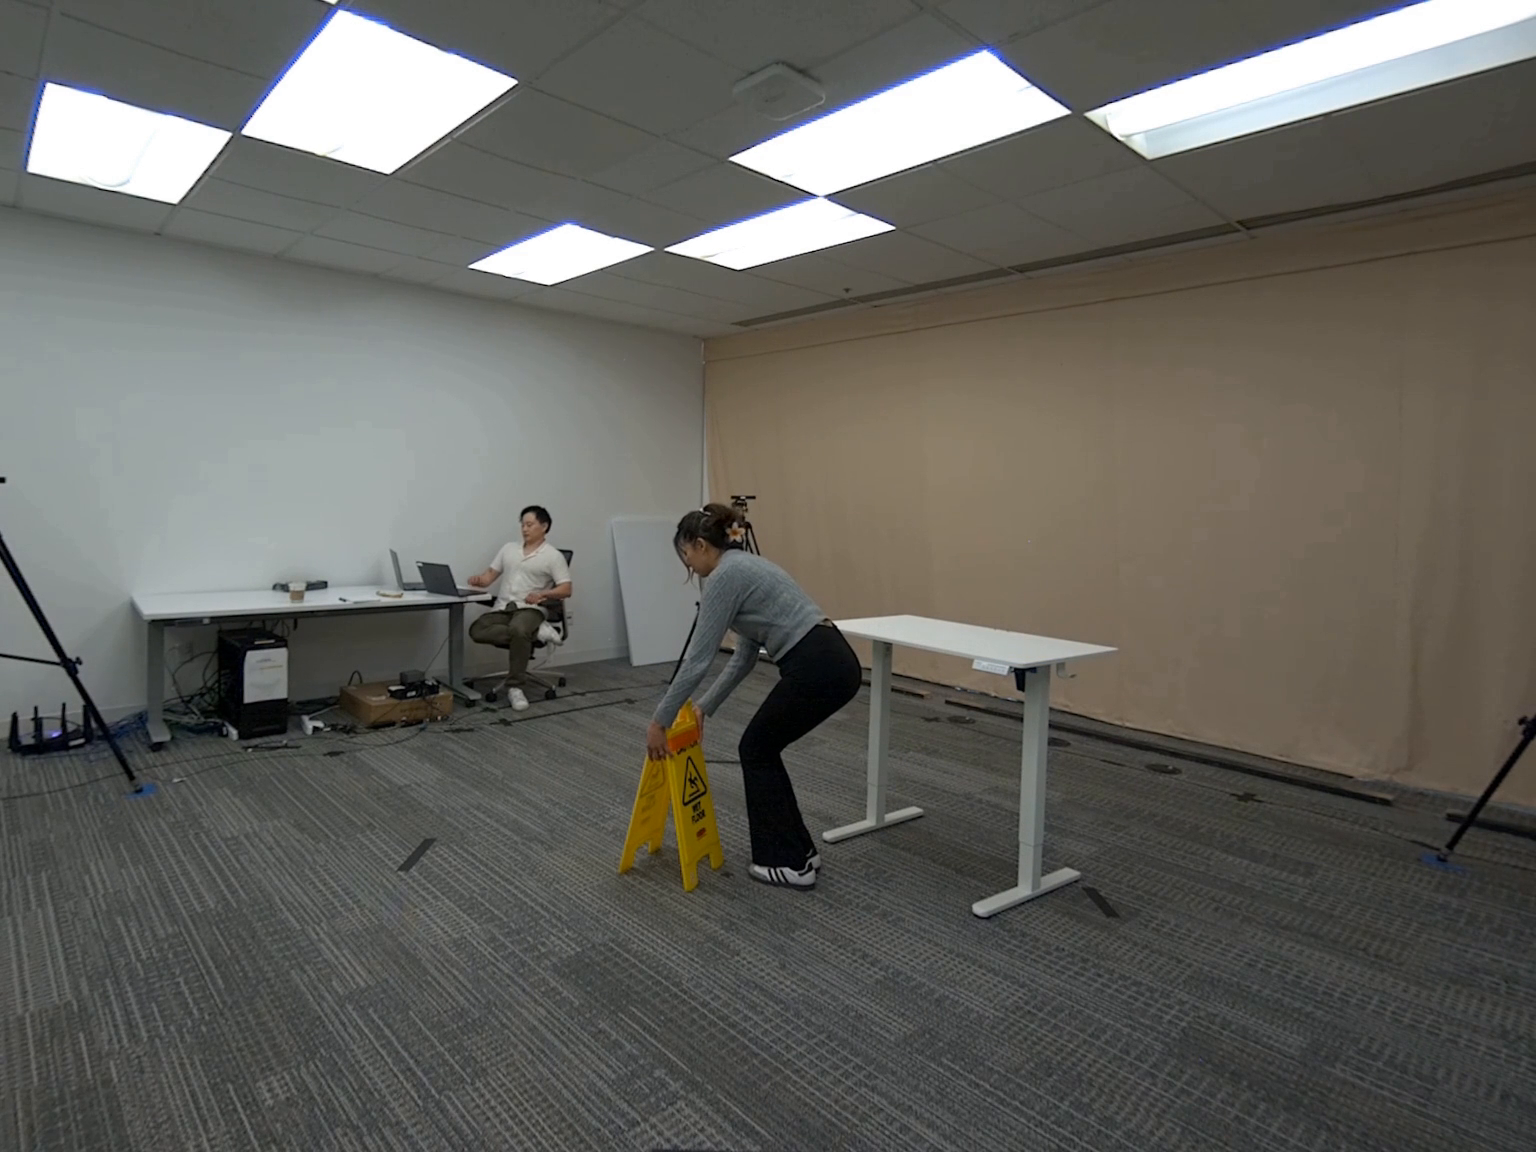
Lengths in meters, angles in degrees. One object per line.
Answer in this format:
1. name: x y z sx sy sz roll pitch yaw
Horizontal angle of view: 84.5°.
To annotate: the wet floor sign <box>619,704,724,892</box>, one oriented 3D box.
1. wet floor sign: -0.358 0.766 3.128 0.295 0.645 0.277 2 1 26
